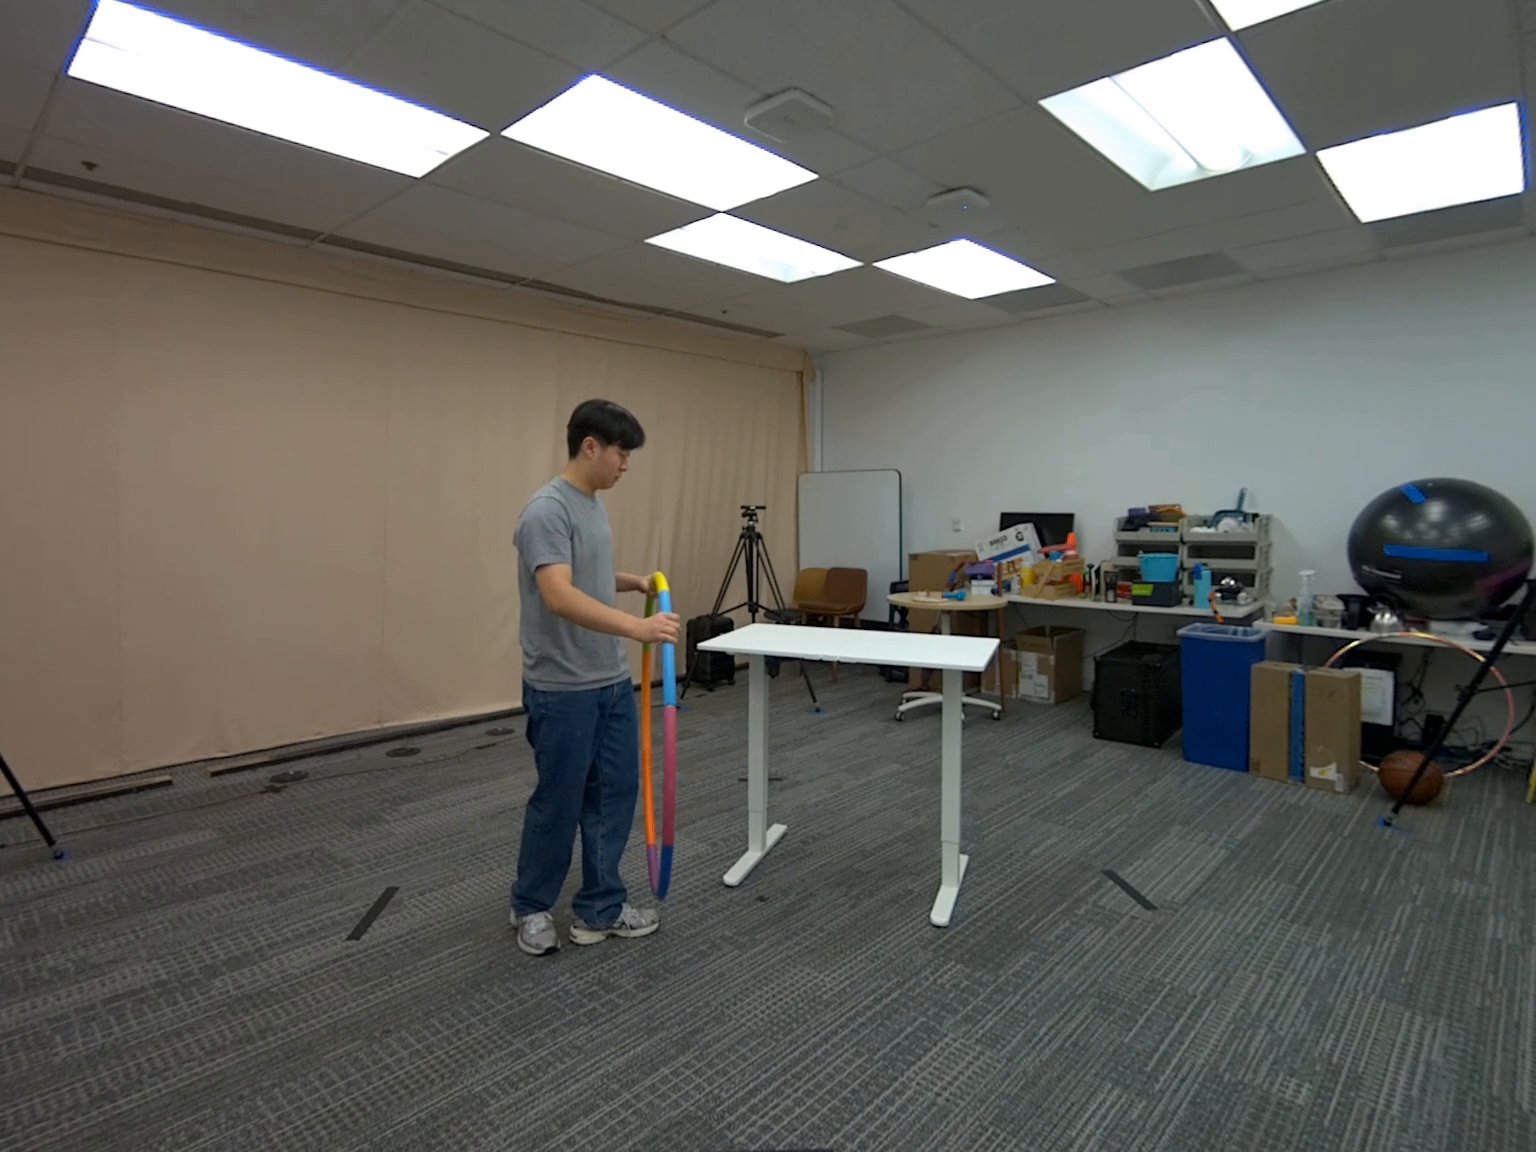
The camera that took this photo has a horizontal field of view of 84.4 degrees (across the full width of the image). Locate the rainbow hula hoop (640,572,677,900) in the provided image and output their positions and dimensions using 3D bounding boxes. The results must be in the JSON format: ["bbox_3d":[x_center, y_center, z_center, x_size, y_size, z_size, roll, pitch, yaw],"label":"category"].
[{"bbox_3d":[-0.351,0.487,2.645,0.035,0.977,0.991,1,4,-12],"label":"rainbow hula hoop"}]
